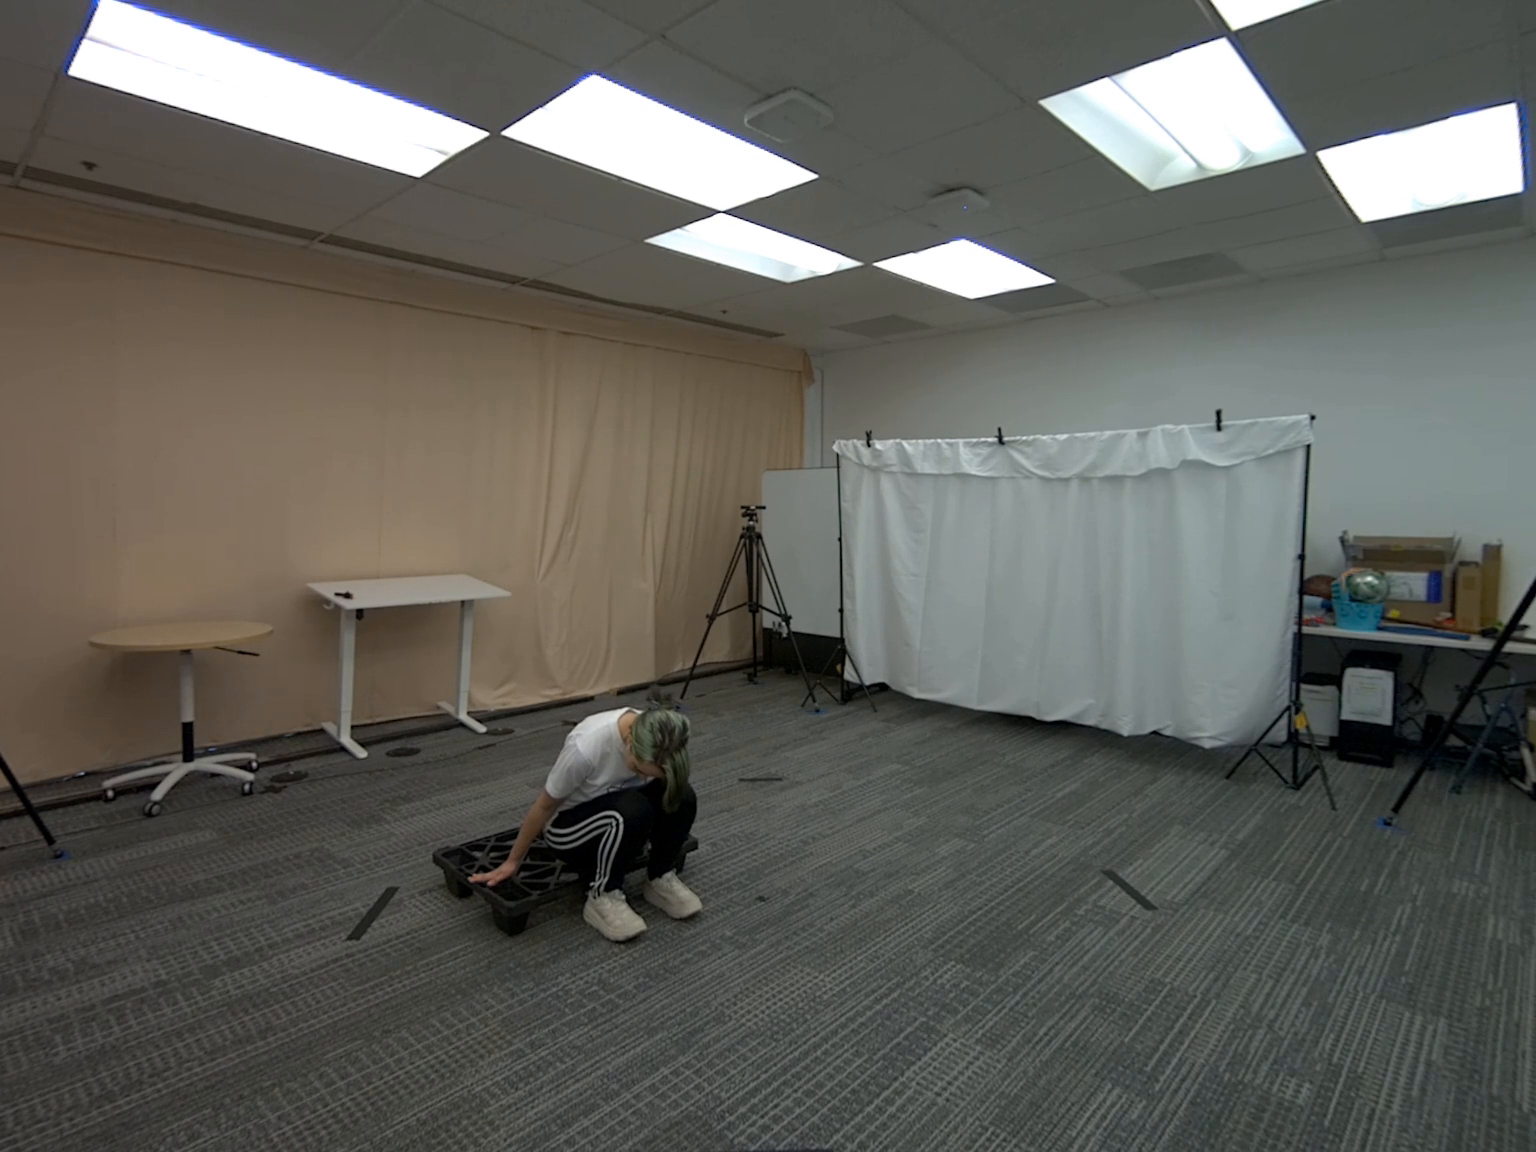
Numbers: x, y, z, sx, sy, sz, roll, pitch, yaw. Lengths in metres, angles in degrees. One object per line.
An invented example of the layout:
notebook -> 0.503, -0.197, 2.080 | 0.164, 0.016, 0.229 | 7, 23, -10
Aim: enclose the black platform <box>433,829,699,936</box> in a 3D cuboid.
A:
black platform -> -0.742, 1.071, 3.145 | 0.781, 0.143, 0.625 | -6, 8, -43
